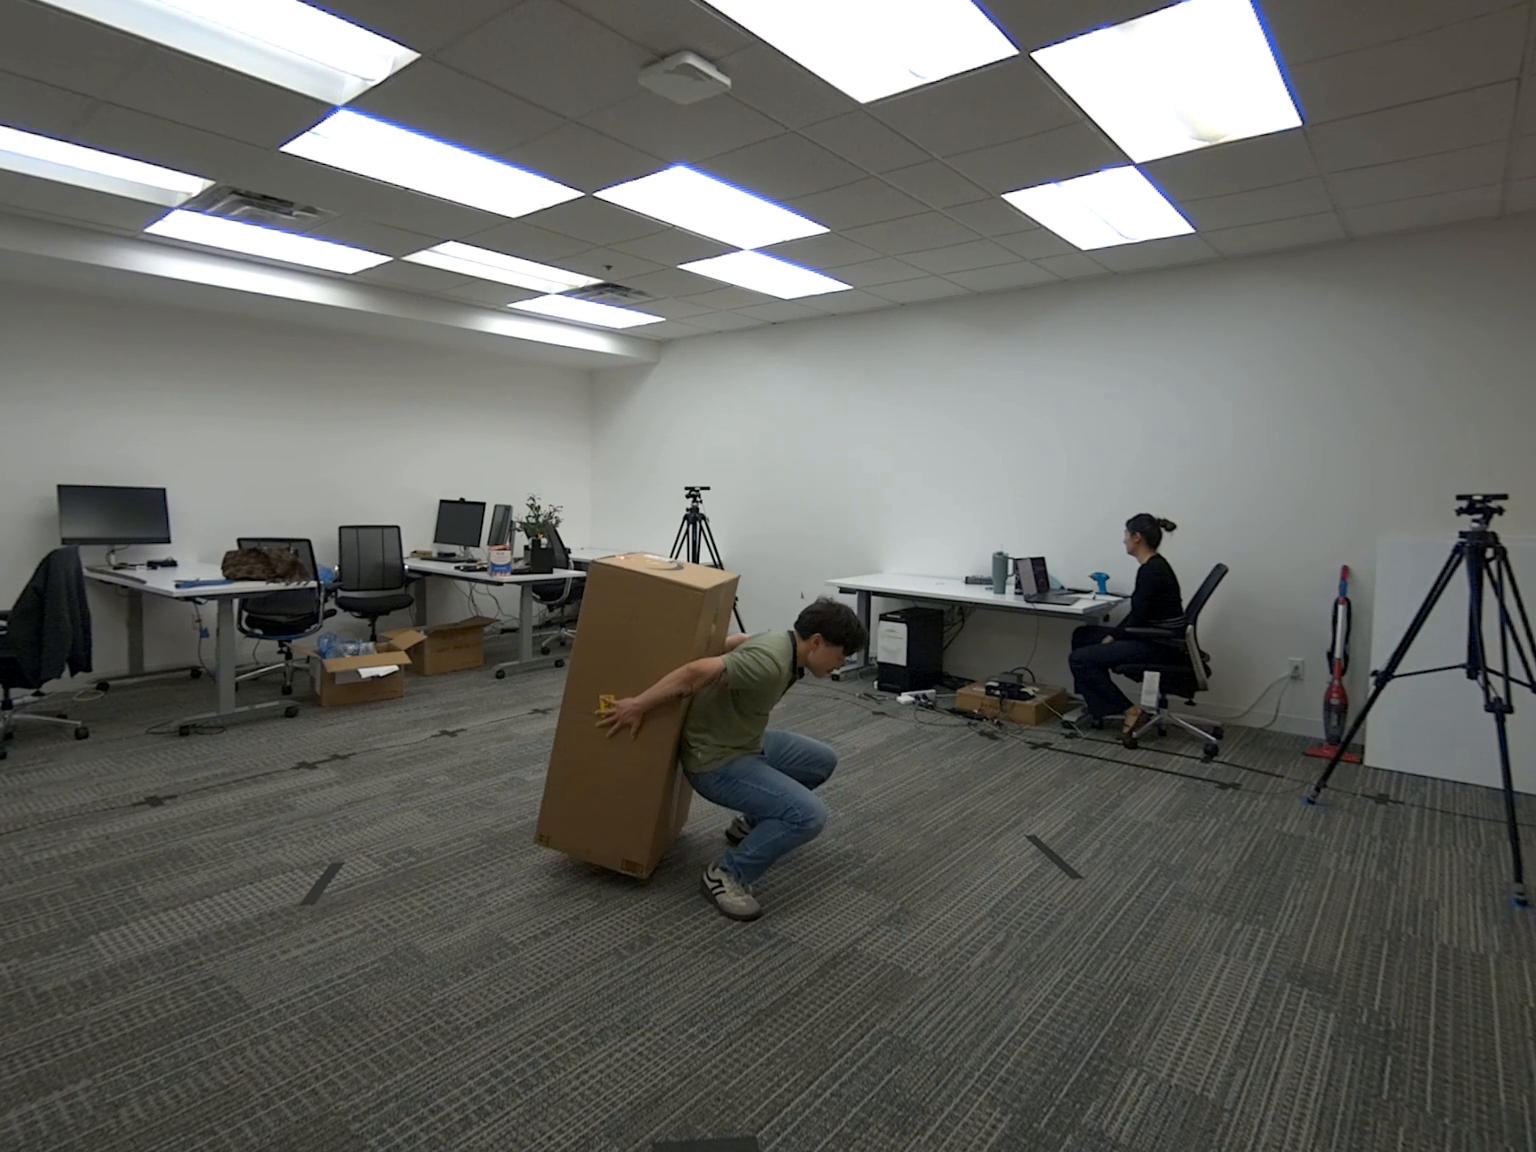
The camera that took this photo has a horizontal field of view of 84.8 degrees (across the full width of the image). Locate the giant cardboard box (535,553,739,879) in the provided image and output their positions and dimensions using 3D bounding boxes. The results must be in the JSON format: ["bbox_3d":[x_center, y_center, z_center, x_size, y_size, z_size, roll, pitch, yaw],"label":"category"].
[{"bbox_3d":[-0.479,0.454,3.168,0.433,1.022,0.571,13,5,10],"label":"giant cardboard box"}]
